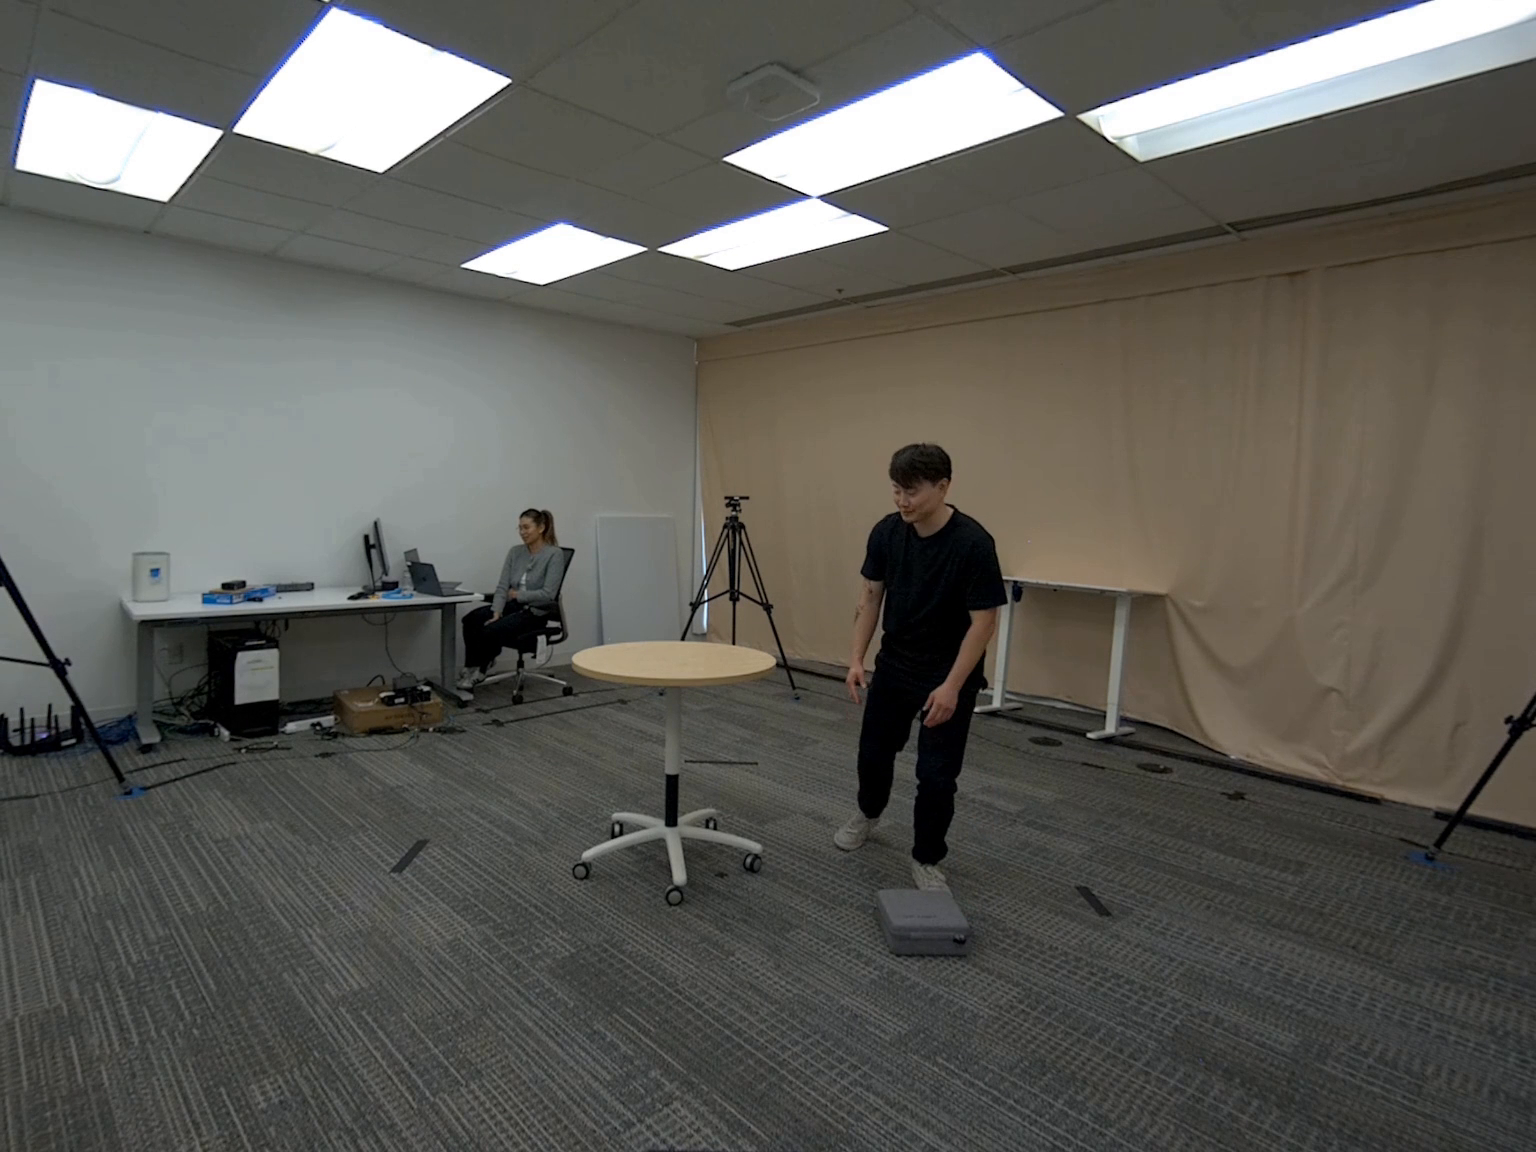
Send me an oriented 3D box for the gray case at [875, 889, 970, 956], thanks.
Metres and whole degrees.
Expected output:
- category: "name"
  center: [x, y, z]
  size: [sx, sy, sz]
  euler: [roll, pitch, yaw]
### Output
- category: "gray case"
  center: [0.489, 1.101, 2.690]
  size: [0.256, 0.104, 0.262]
  euler: [1, 5, -4]
